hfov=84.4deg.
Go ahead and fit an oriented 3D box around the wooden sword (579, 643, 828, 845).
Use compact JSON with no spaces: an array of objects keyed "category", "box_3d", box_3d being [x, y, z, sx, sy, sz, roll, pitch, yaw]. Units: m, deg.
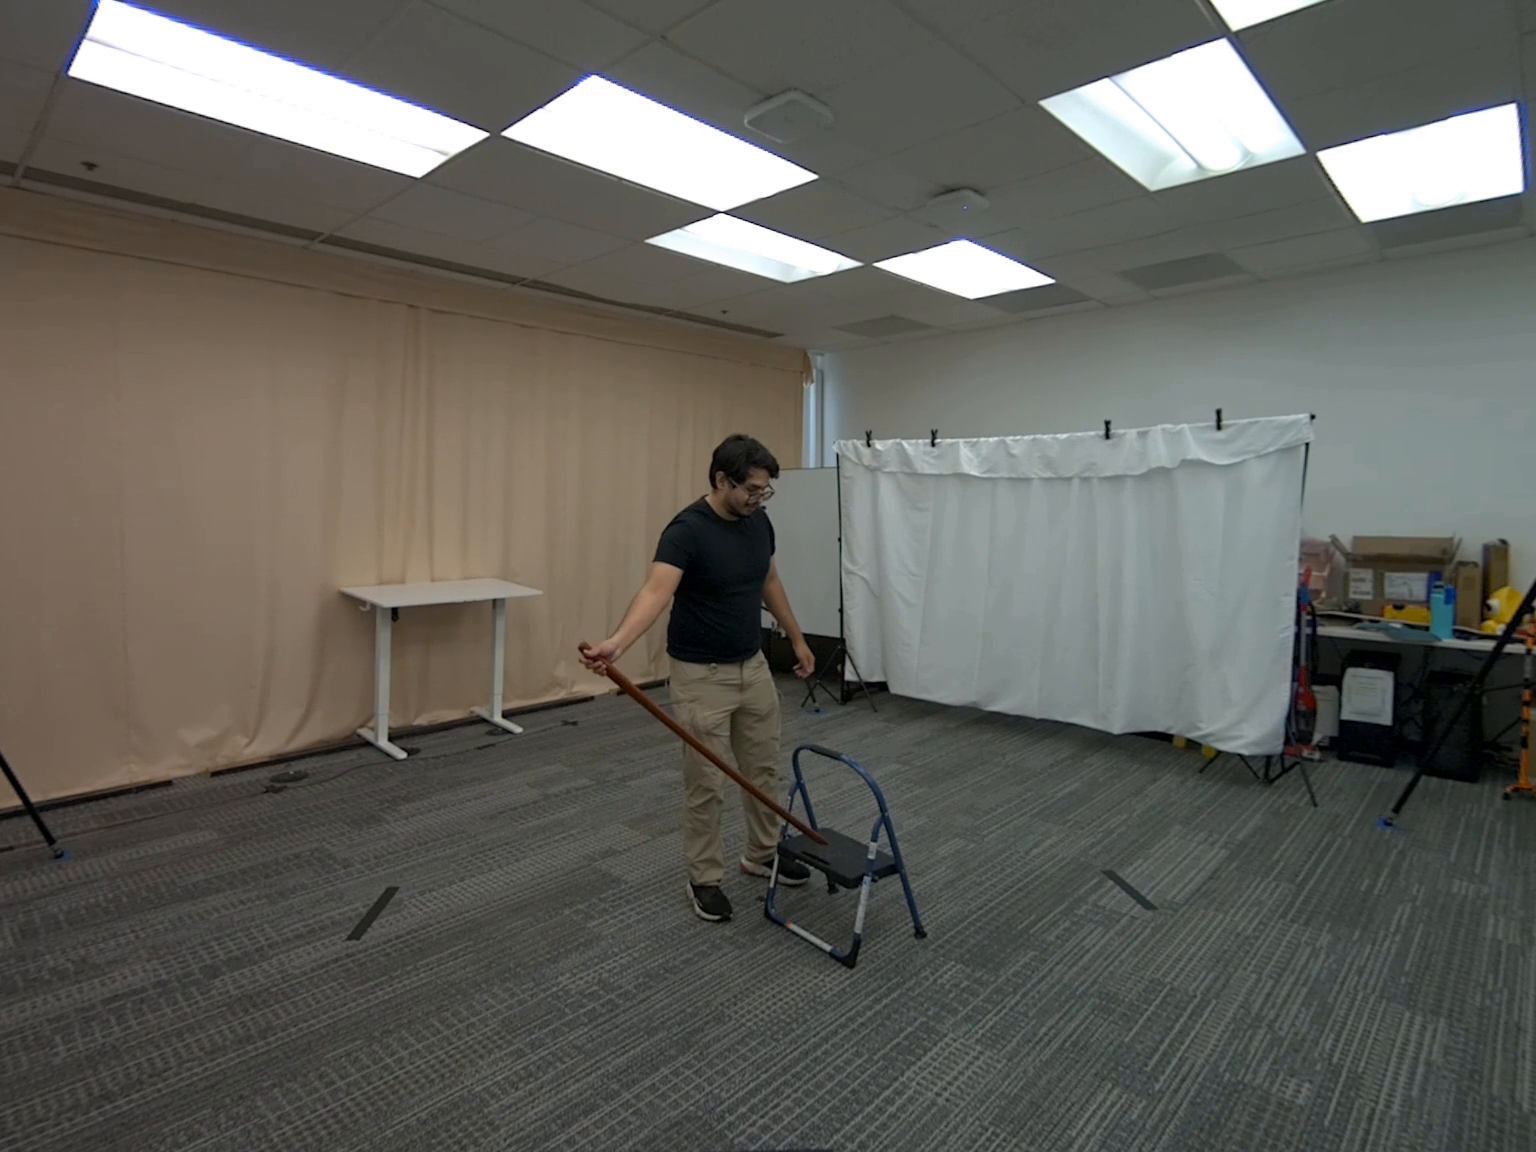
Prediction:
[{"category":"wooden sword","box_3d":[-0.169,0.555,2.556,0.024,1.004,0.051,-30,23,42]}]
